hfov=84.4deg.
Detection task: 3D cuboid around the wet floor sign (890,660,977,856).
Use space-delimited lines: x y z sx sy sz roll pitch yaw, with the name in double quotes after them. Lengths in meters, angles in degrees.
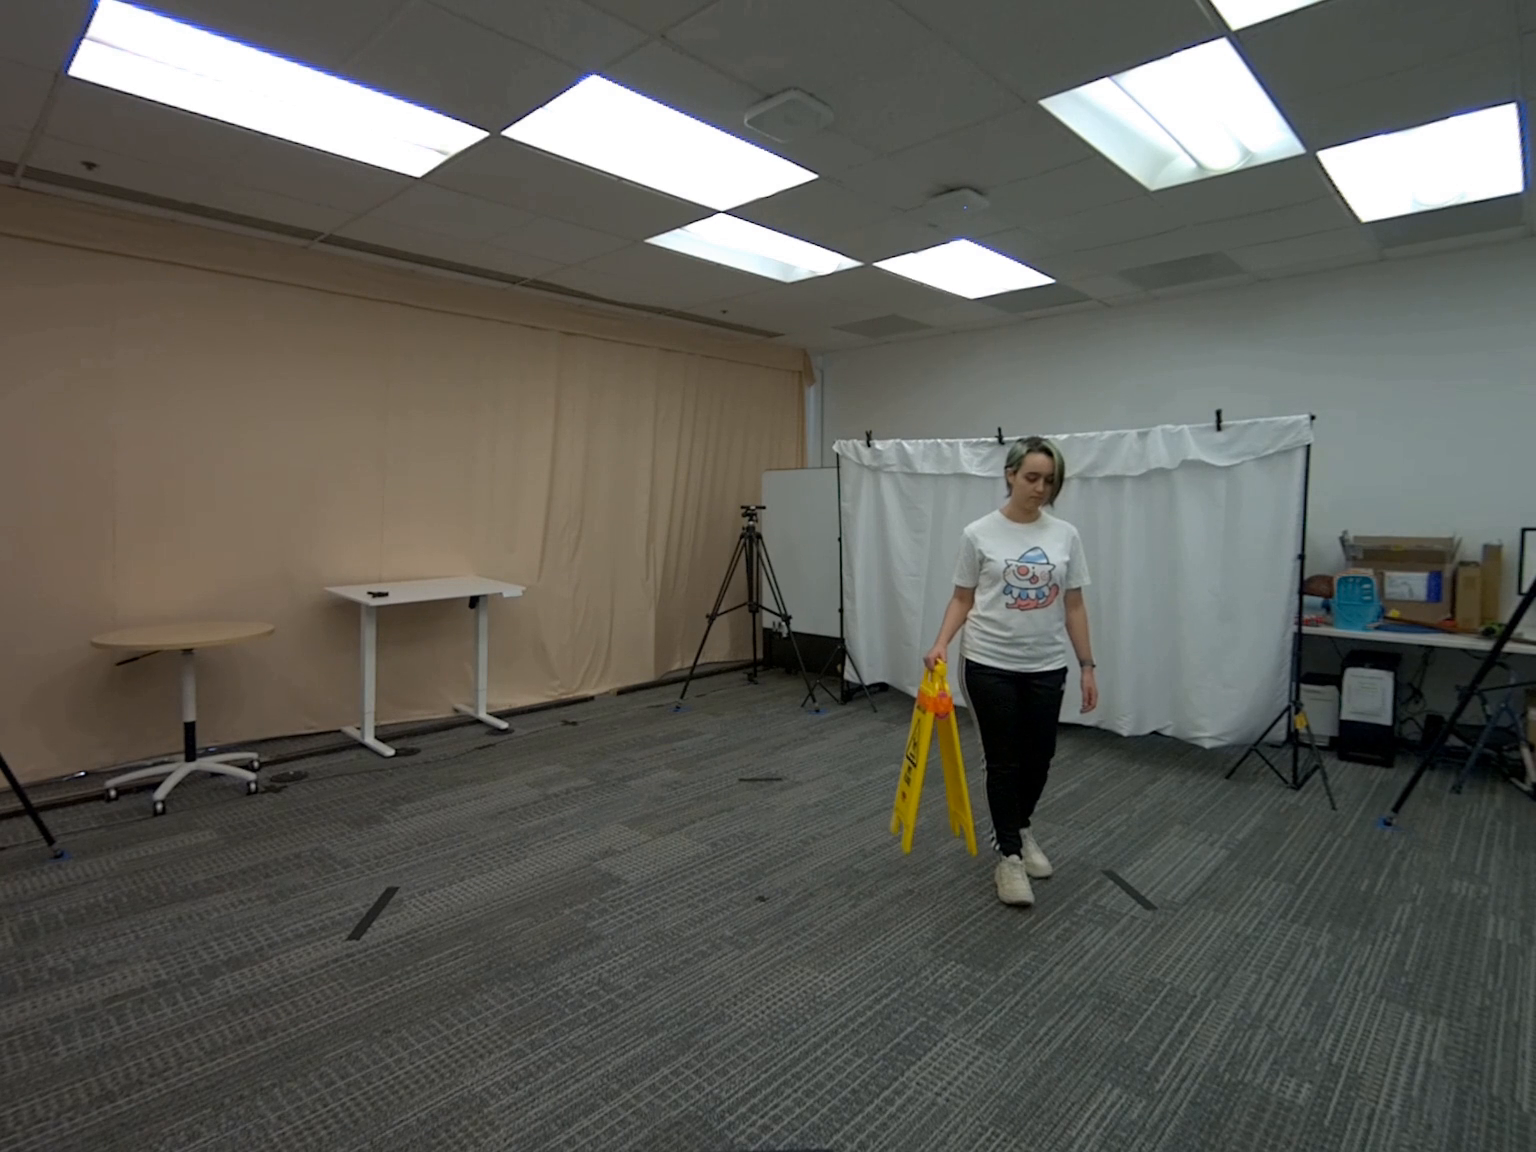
0.596 0.624 2.985 0.289 0.647 0.283 0 -2 -3 "wet floor sign"
